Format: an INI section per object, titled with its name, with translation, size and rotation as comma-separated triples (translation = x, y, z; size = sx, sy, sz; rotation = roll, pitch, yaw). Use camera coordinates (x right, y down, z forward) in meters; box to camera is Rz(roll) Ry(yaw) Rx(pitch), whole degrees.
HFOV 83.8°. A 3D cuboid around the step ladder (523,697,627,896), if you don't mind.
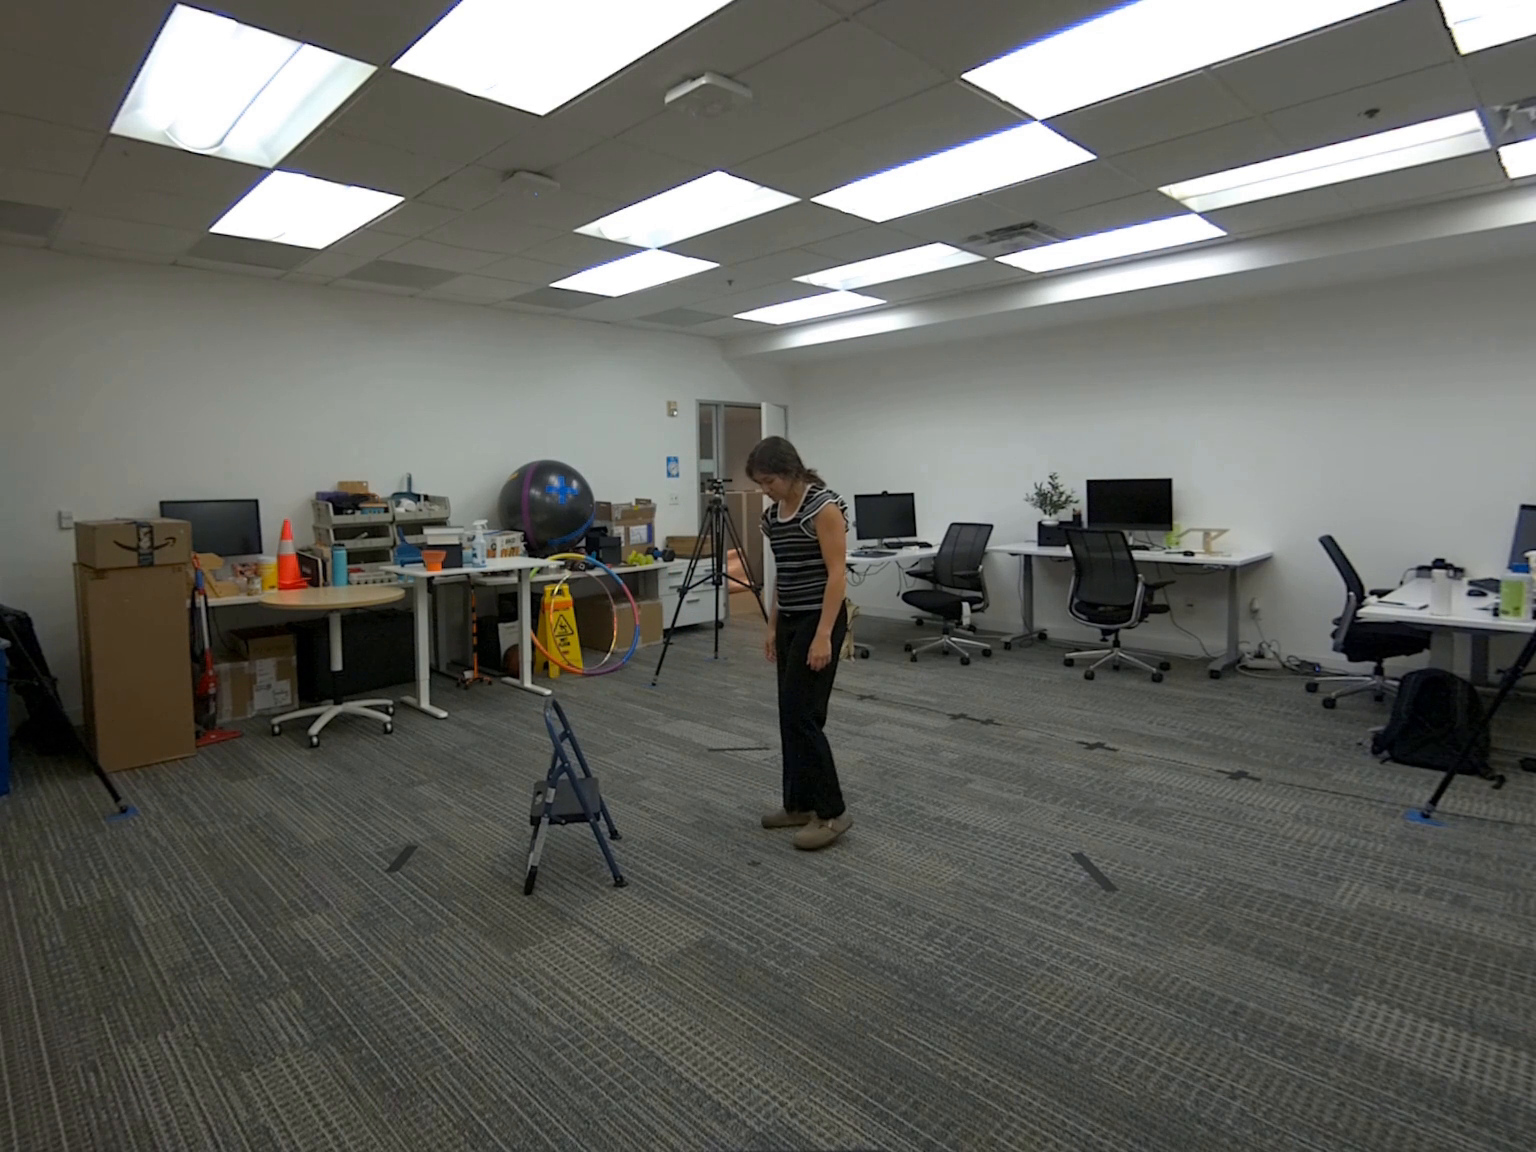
[step ladder]
translation = -0.711, 0.758, 3.108
size = 0.346, 0.604, 0.437
rotation = -2, 4, -12
